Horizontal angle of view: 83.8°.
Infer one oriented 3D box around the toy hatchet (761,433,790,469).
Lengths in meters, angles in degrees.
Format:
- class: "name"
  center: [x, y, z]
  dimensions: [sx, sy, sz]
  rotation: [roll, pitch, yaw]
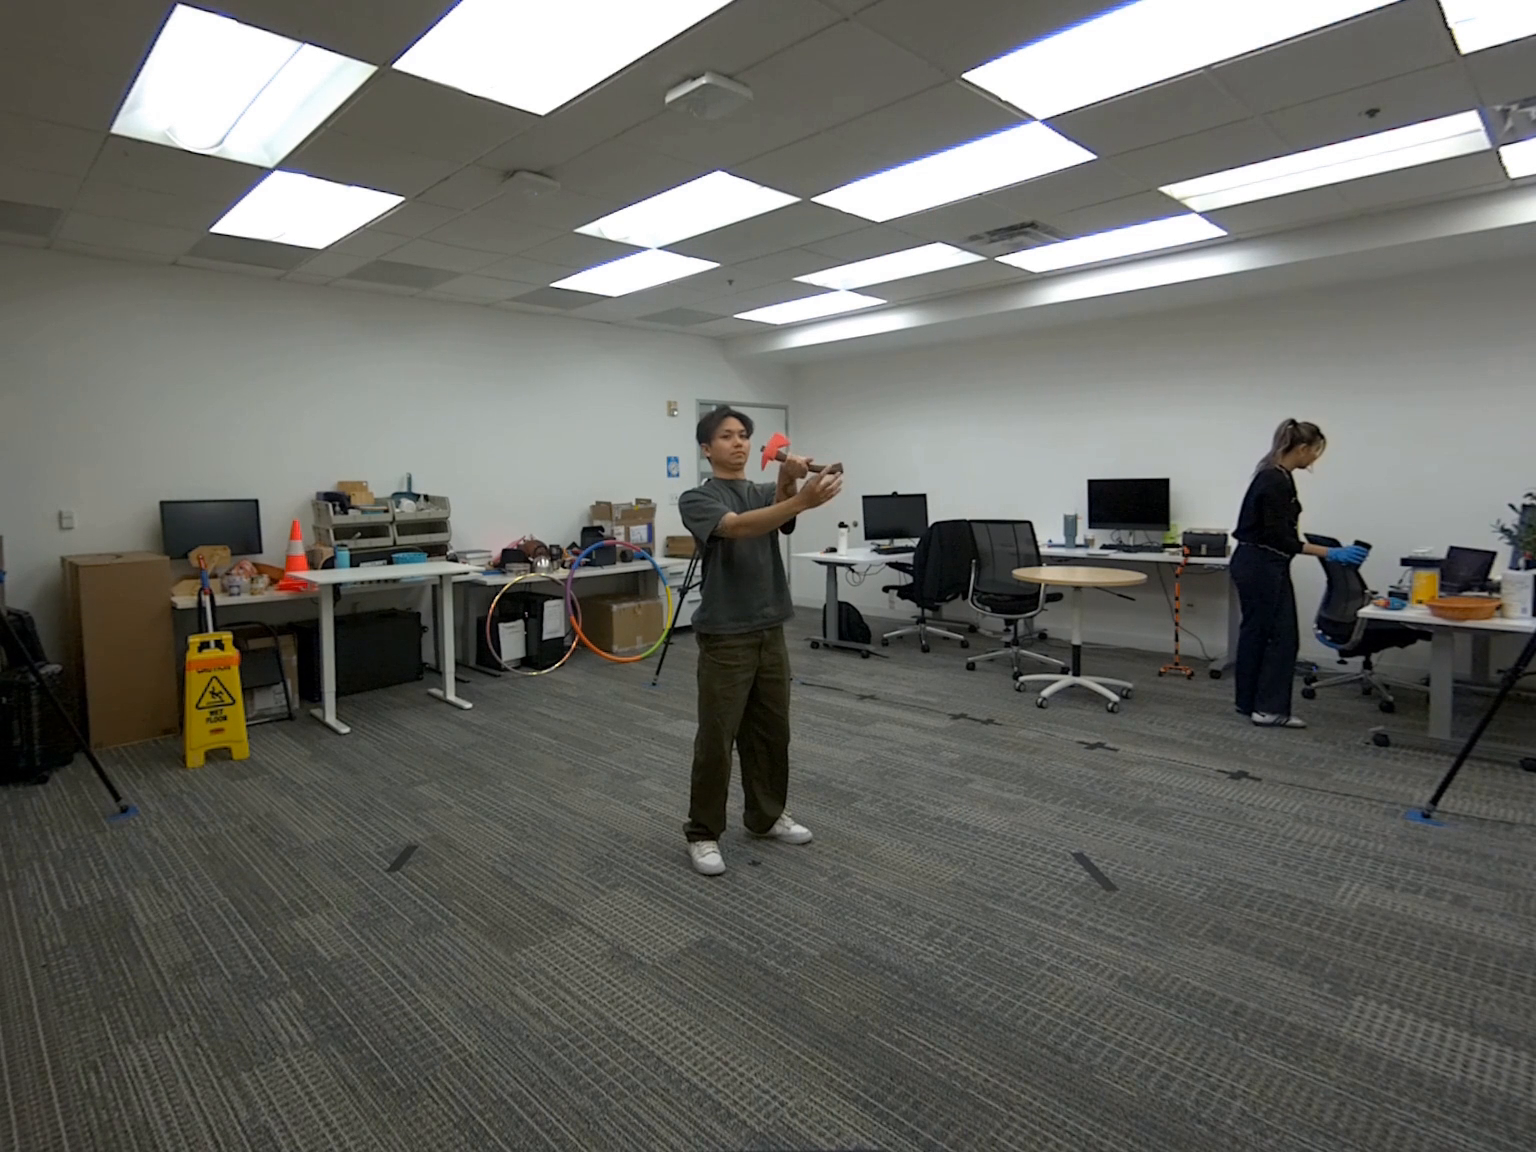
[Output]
- class: "toy hatchet"
  center: [0.118, -0.401, 2.764]
  dimensions: [0.269, 0.132, 0.029]
  rotation: [1, -8, -3]
